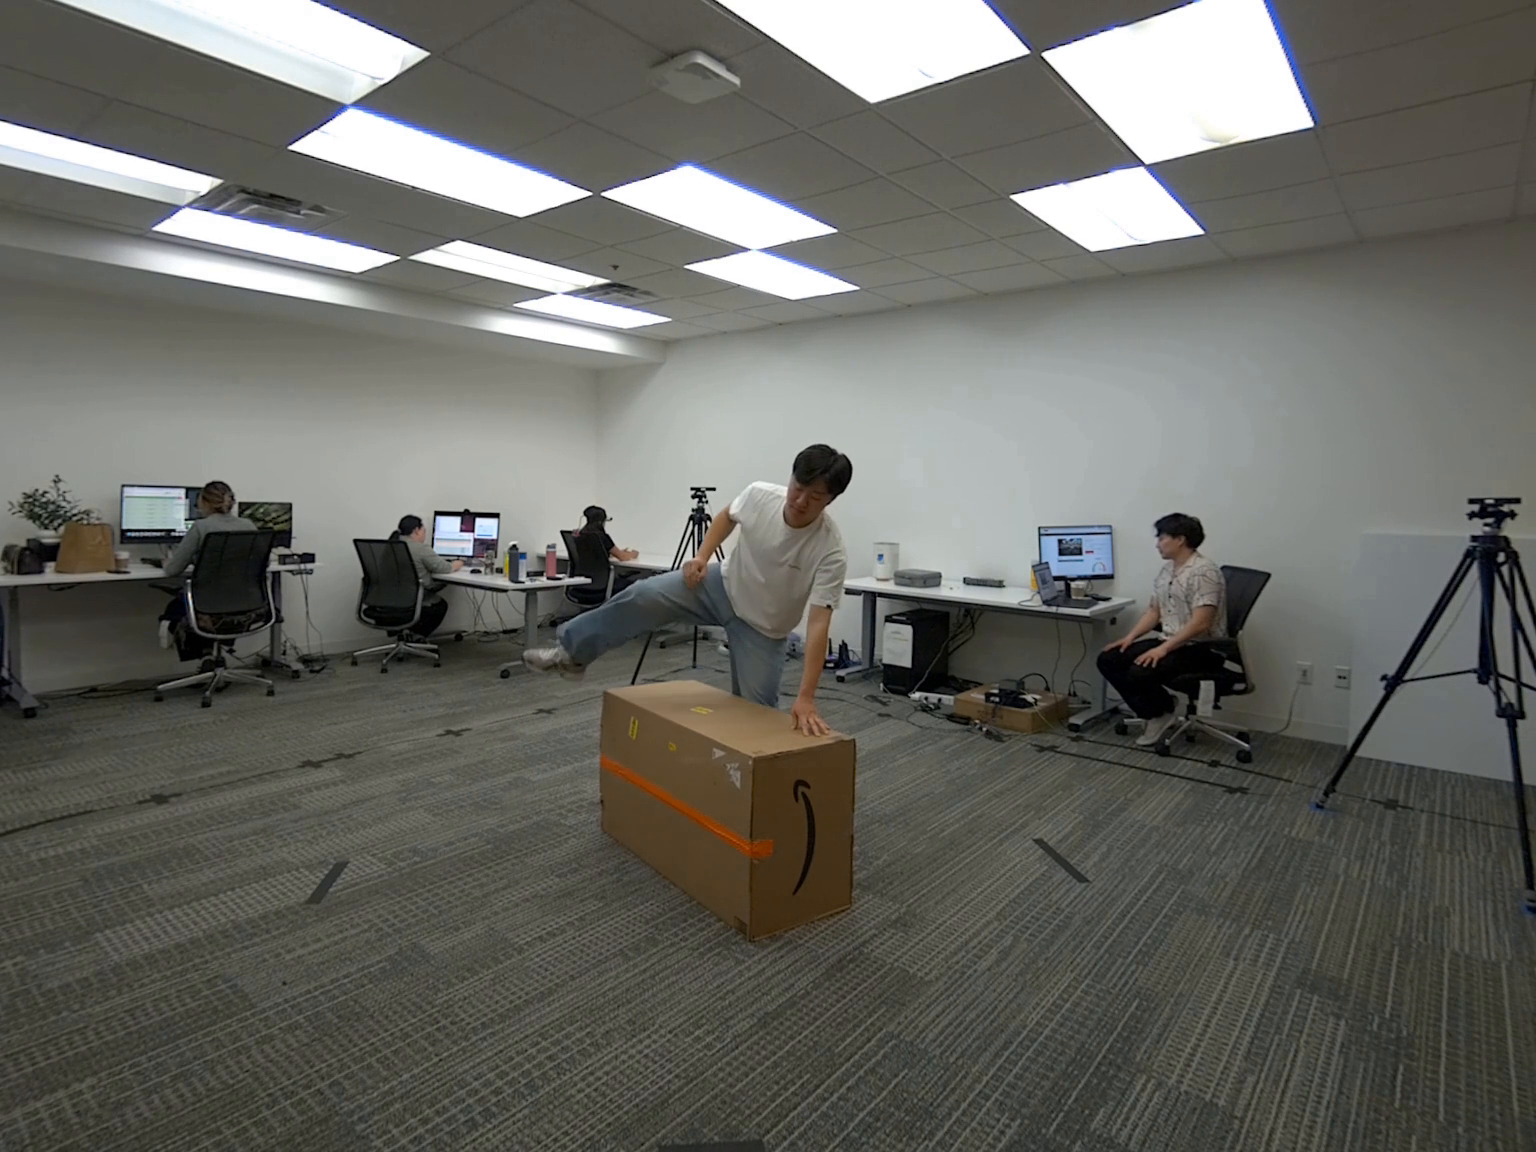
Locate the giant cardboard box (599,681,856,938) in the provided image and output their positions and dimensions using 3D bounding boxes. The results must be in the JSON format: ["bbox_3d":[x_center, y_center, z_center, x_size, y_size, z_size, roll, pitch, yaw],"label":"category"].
[{"bbox_3d":[-0.202,0.779,3.121,0.414,0.576,1.060,-1,5,-36],"label":"giant cardboard box"}]
